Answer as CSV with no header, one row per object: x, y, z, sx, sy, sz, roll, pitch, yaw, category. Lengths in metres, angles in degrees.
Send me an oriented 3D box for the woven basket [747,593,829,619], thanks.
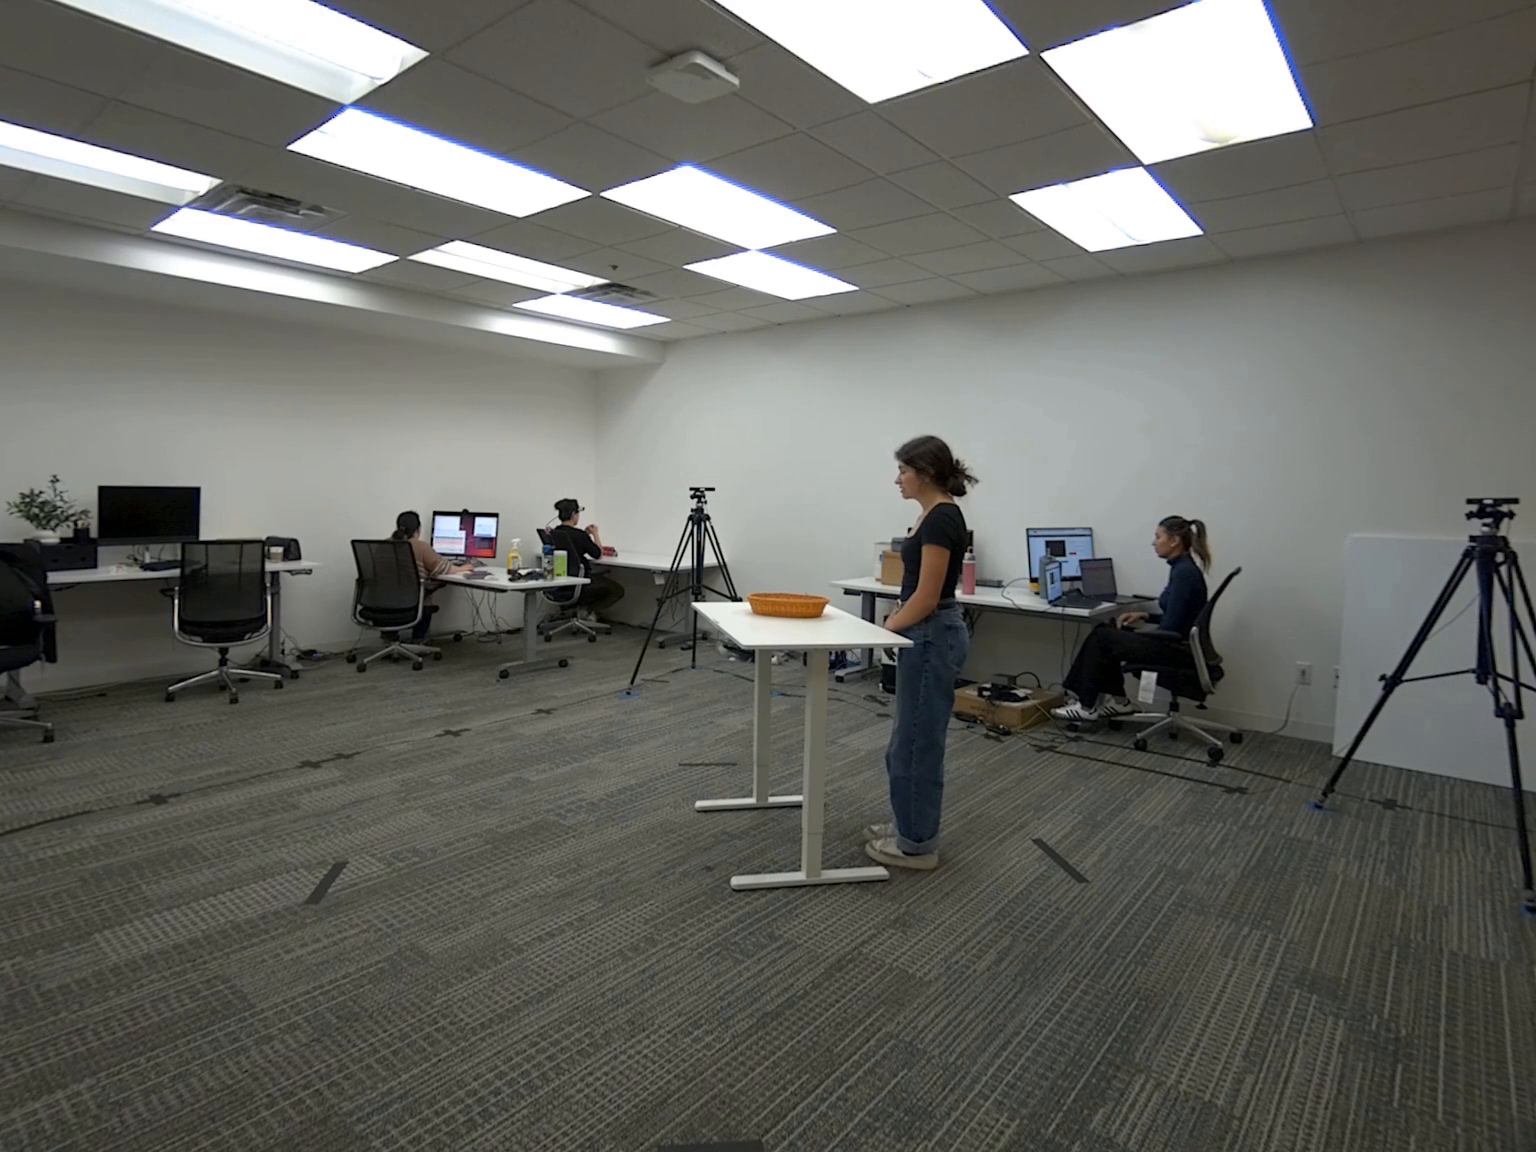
0.073,0.123,3.492,0.354,0.073,0.250,3,5,9,woven basket
